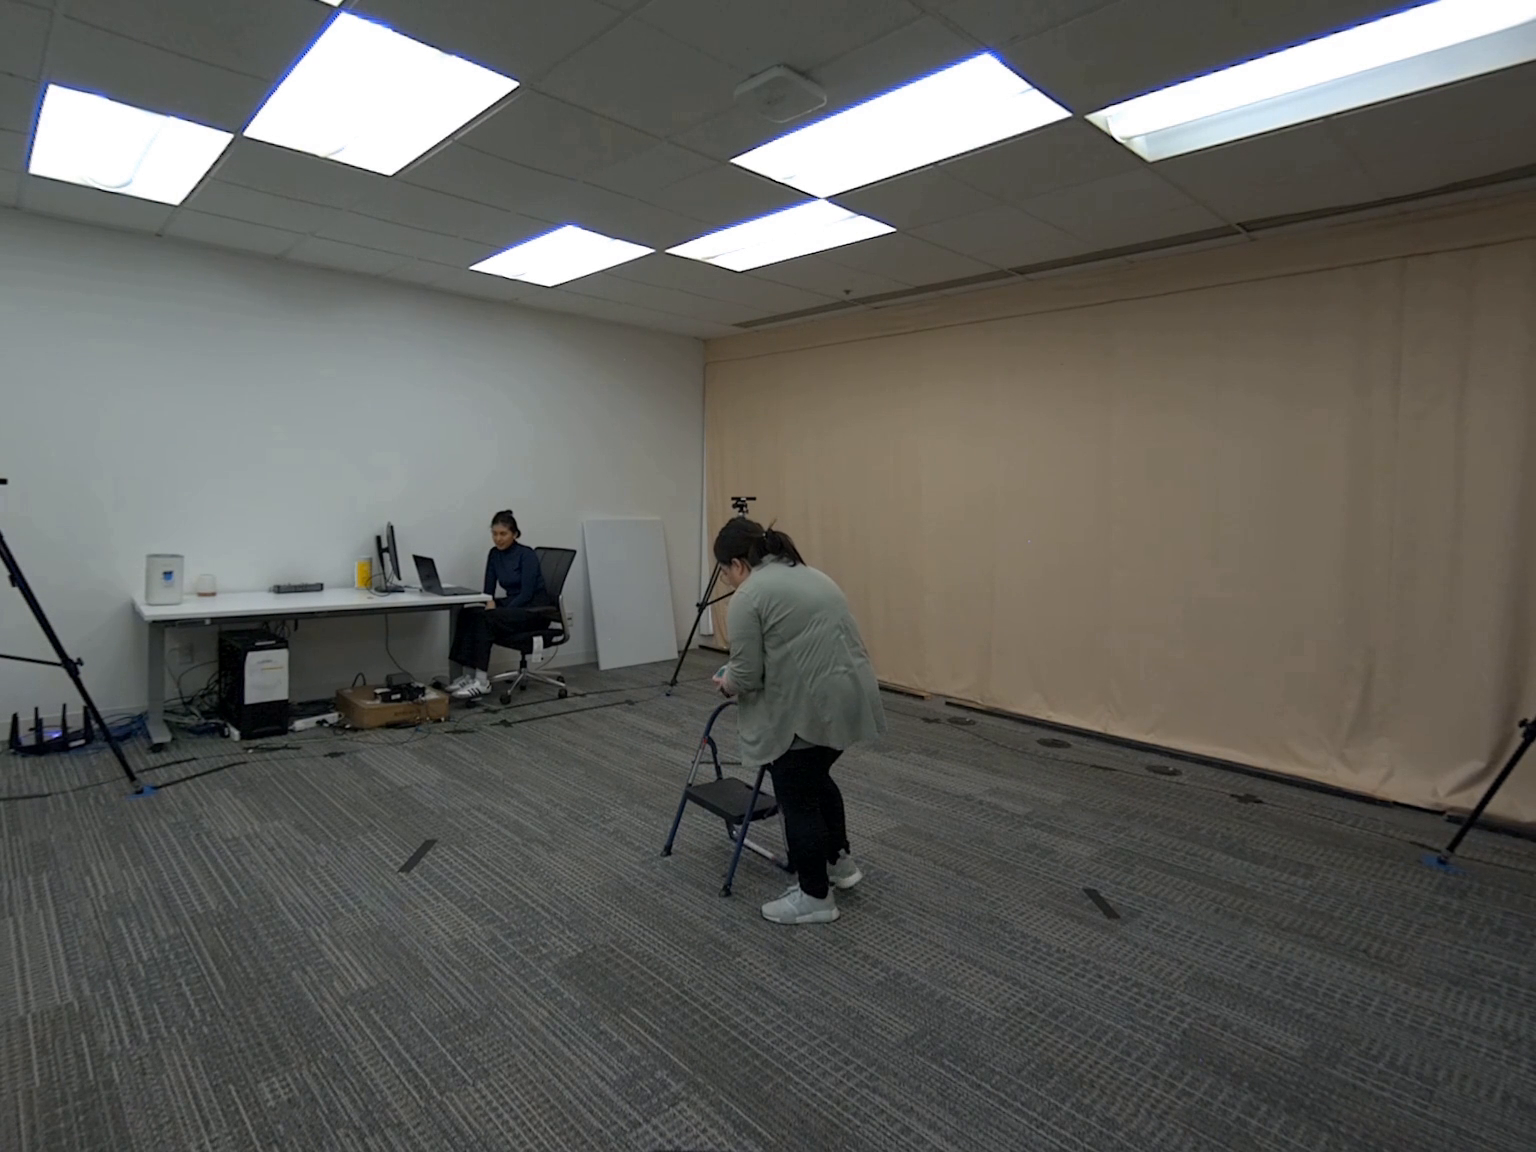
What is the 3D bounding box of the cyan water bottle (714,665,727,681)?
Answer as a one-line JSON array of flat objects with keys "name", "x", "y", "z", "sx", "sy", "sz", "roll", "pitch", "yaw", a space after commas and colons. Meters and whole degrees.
[{"name": "cyan water bottle", "x": -0.084, "y": 0.351, "z": 3.076, "sx": 0.094, "sy": 0.092, "sz": 0.280, "roll": 3, "pitch": 11, "yaw": 21}]
